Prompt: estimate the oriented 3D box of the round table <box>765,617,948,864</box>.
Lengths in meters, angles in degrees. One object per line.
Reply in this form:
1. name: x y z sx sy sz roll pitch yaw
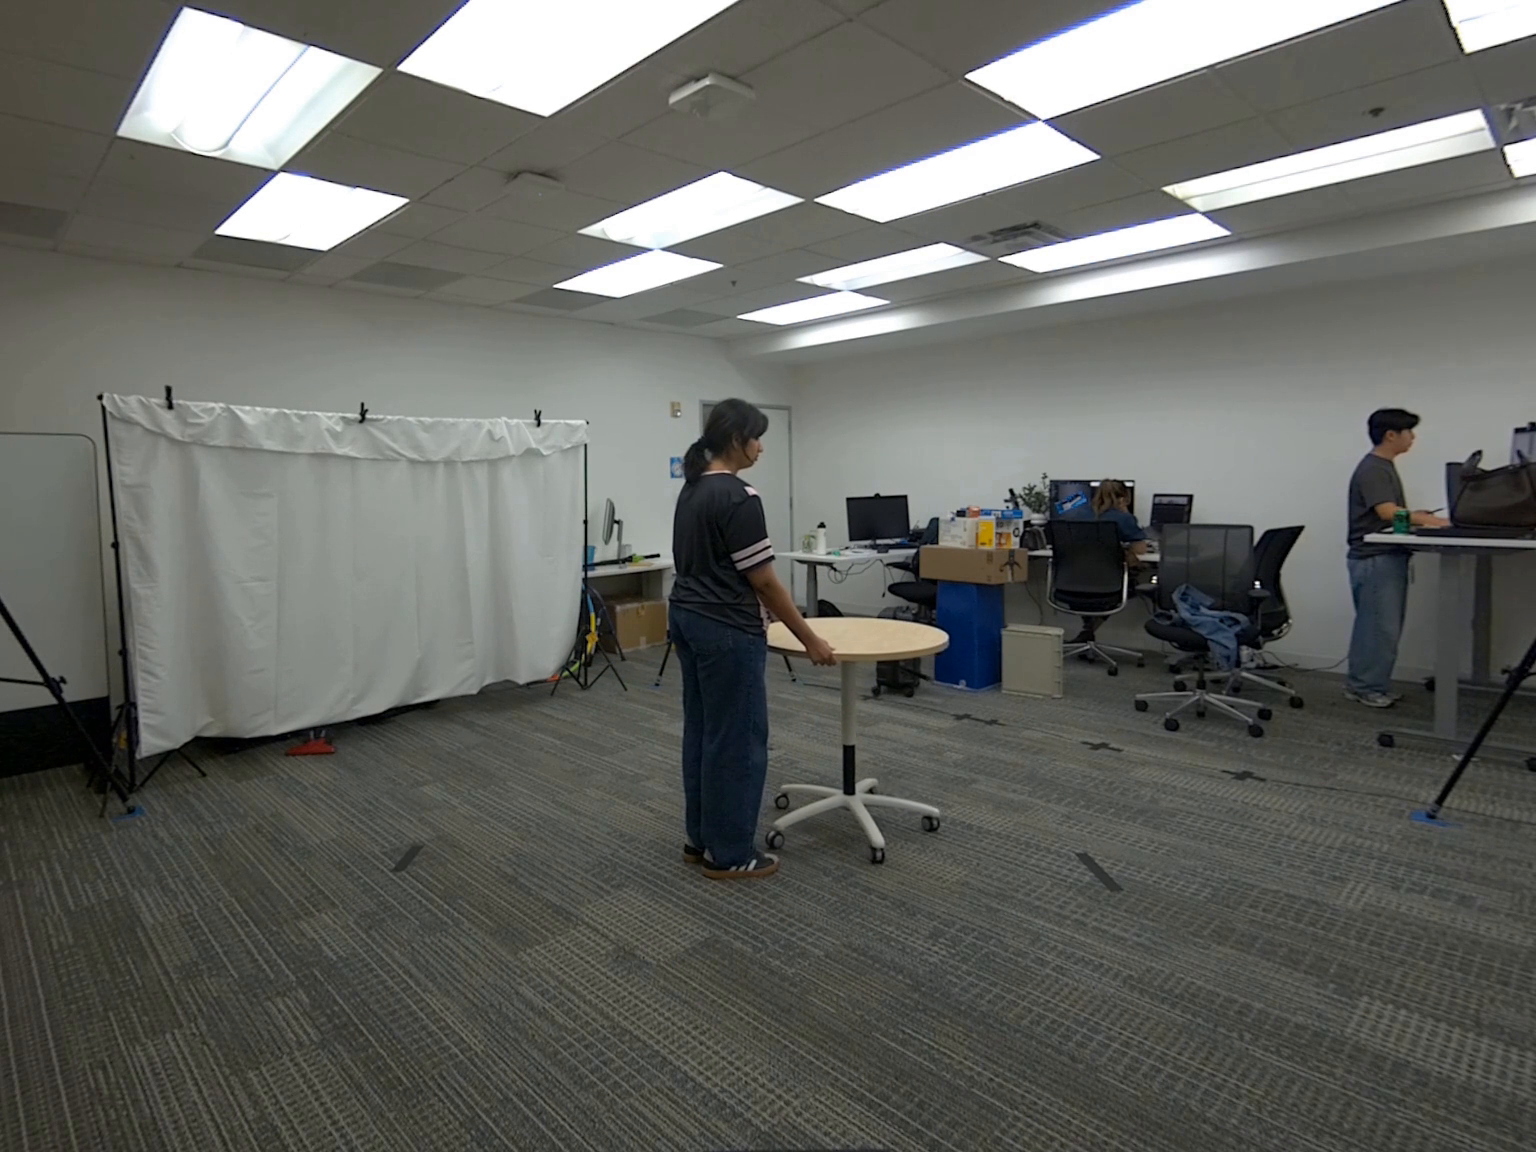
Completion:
1. round table: 0.310 0.615 3.386 0.784 0.783 0.789 -1 5 -2
